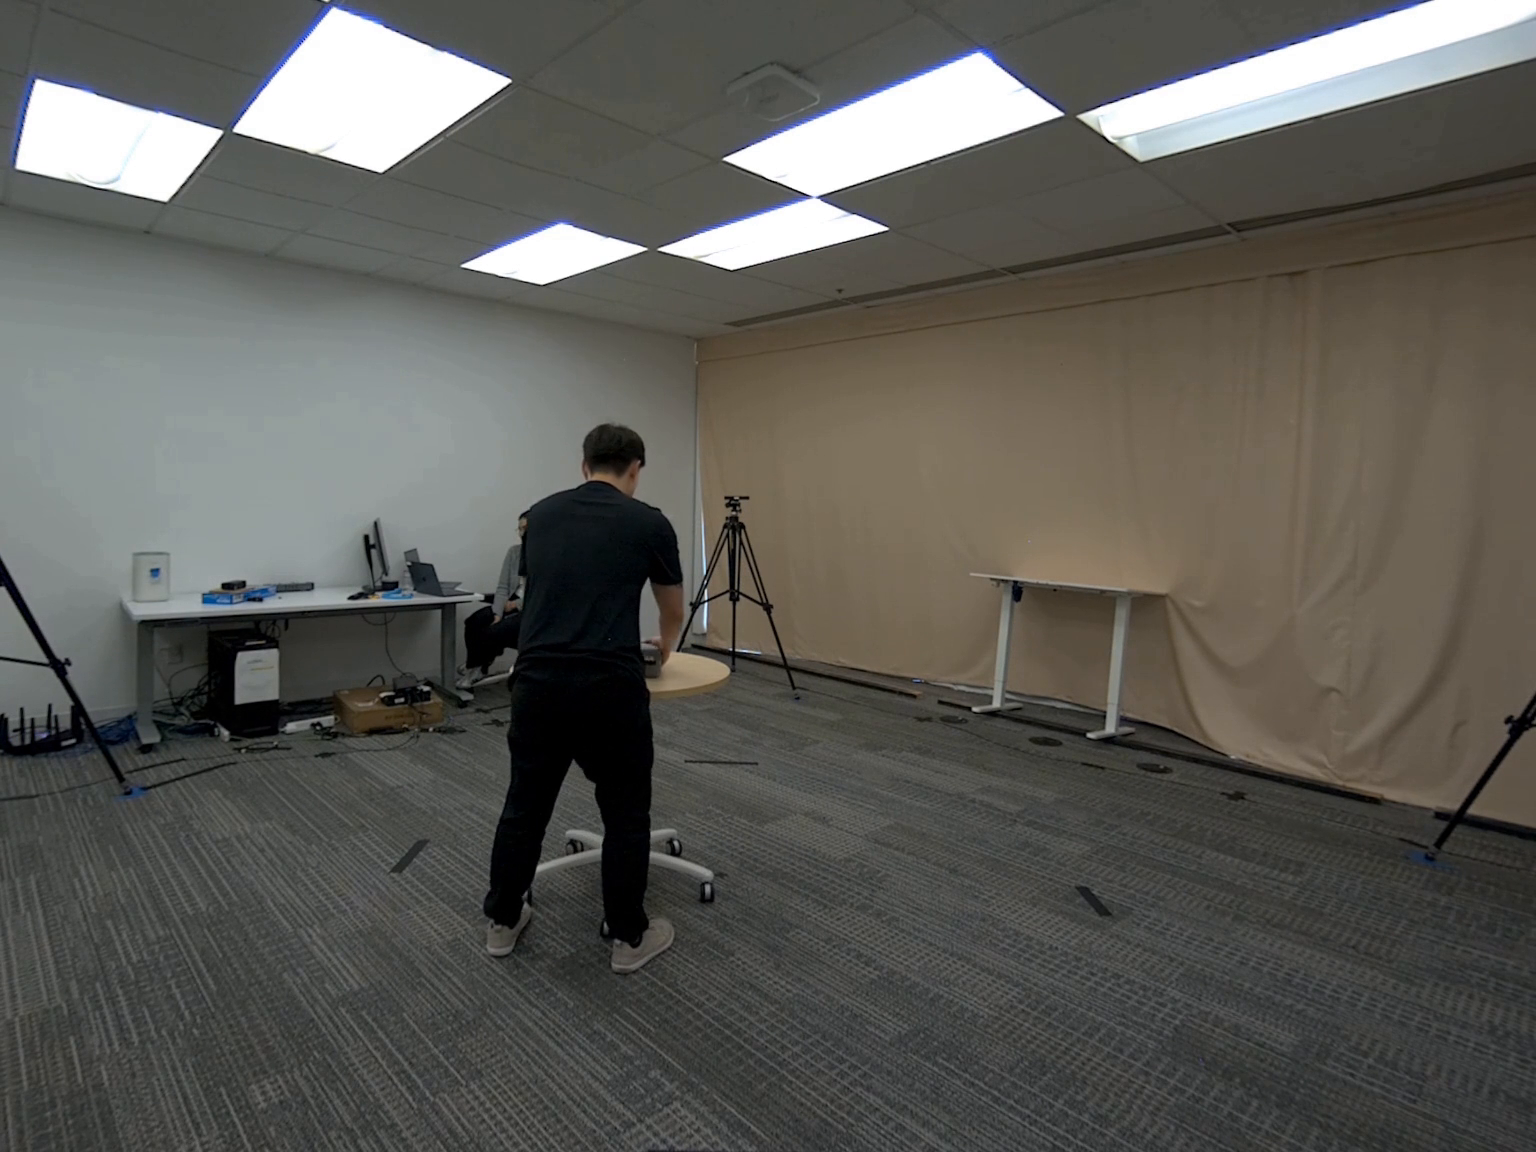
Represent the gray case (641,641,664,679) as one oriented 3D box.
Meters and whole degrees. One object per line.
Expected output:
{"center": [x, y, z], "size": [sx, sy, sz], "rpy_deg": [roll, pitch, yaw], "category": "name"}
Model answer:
{"center": [-0.501, 0.279, 2.921], "size": [0.255, 0.104, 0.263], "rpy_deg": [-1, 5, -9], "category": "gray case"}
